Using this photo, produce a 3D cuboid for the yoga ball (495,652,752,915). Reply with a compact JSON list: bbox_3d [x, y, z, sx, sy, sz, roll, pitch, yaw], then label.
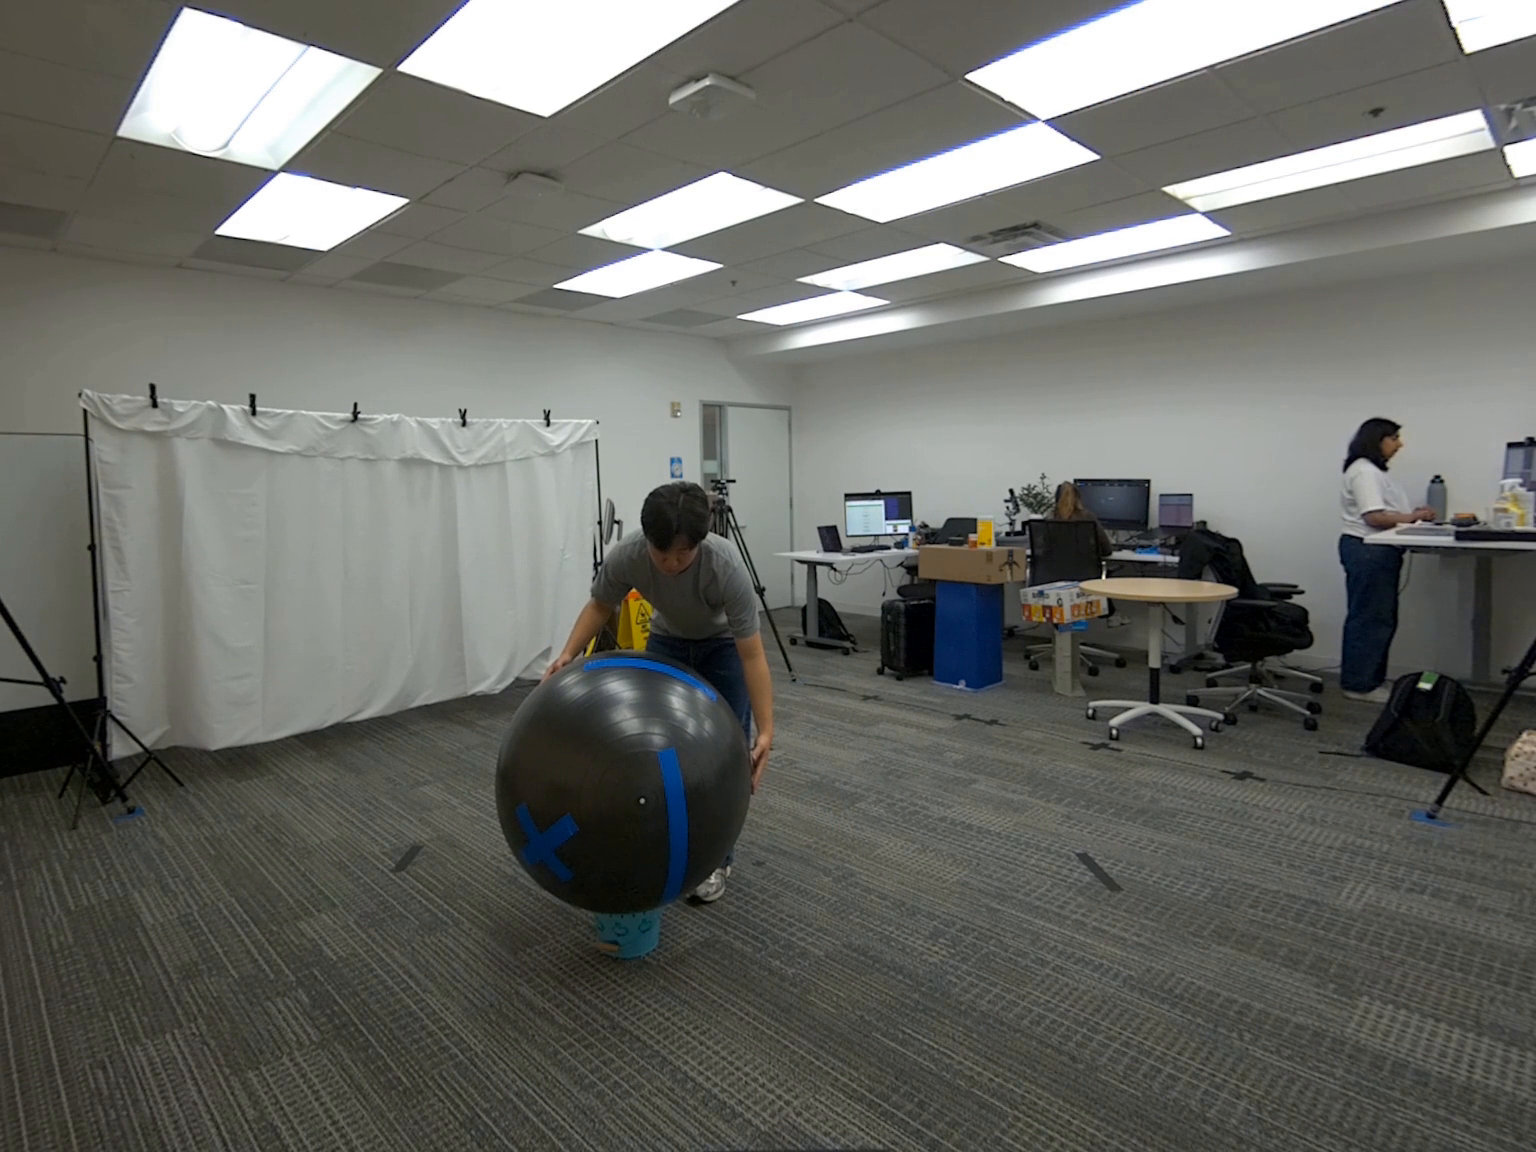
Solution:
[{"bbox_3d":[-0.434,0.611,2.570,0.757,0.755,0.762,-1,5,-2],"label":"yoga ball"}]
